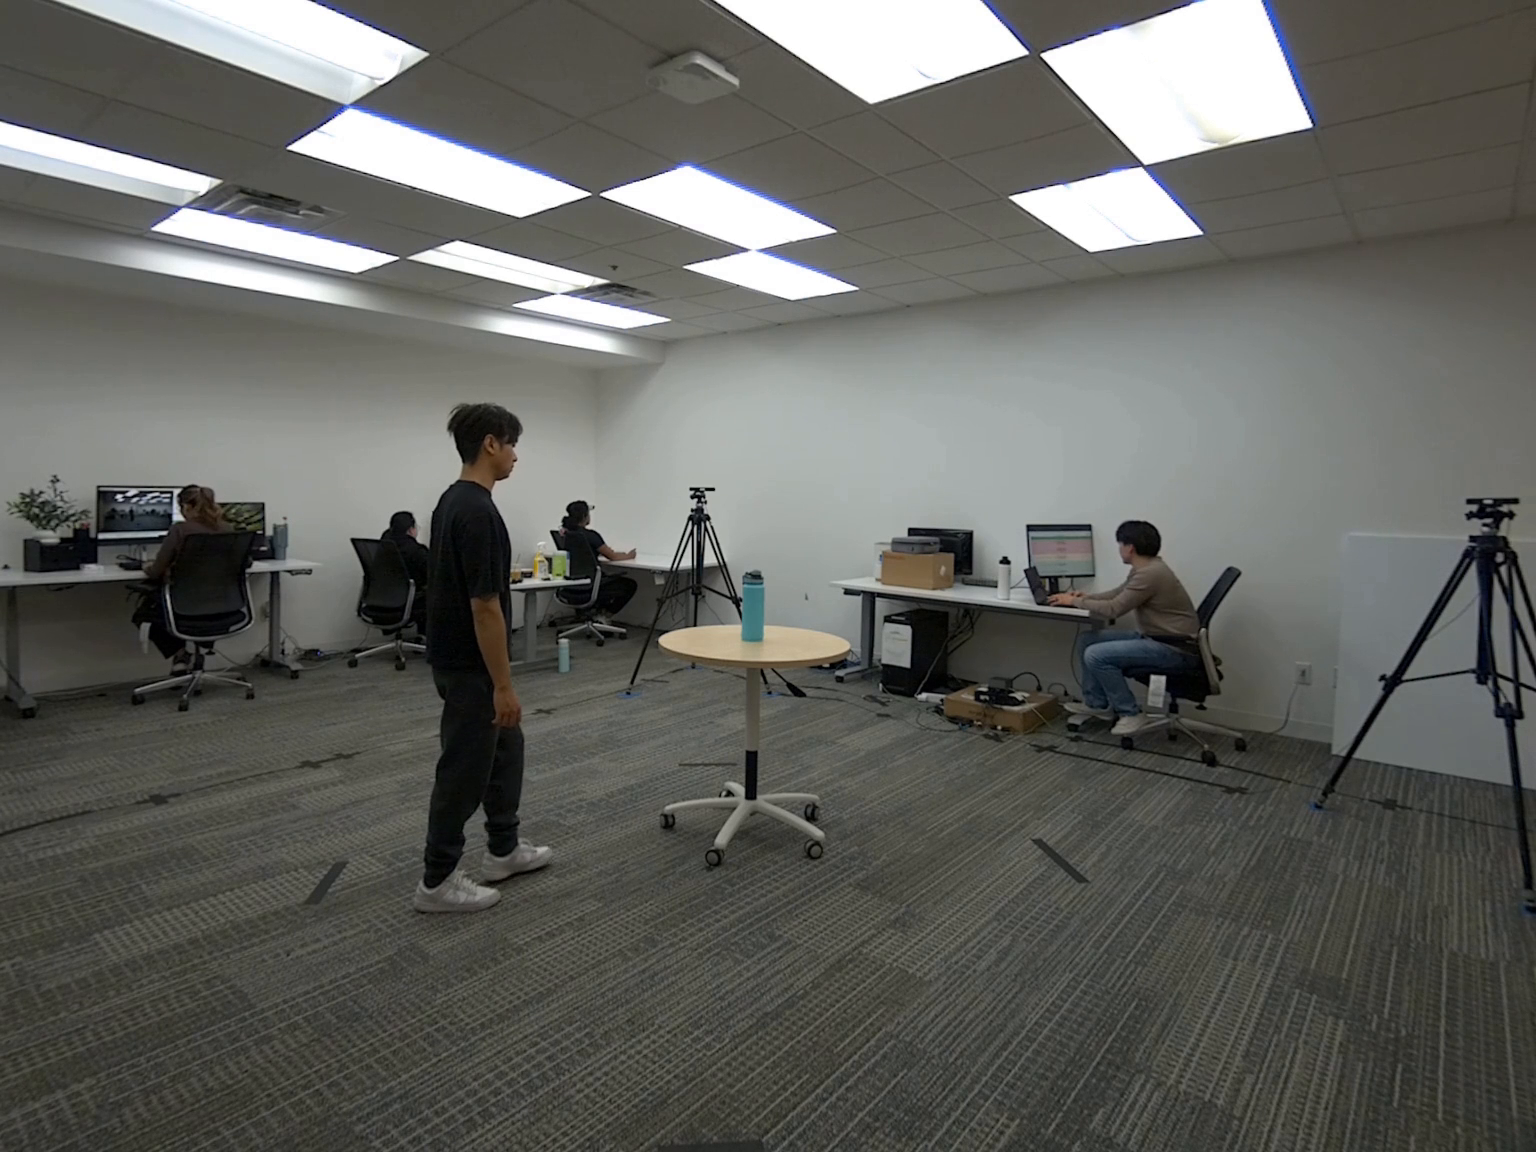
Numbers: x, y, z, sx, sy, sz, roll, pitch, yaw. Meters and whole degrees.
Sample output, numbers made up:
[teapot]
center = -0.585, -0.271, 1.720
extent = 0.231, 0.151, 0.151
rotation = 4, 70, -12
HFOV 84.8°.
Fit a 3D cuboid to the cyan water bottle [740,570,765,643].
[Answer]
[cyan water bottle]
center = -0.069, 0.115, 3.439
extent = 0.092, 0.283, 0.093
rotation = -1, 3, -2
